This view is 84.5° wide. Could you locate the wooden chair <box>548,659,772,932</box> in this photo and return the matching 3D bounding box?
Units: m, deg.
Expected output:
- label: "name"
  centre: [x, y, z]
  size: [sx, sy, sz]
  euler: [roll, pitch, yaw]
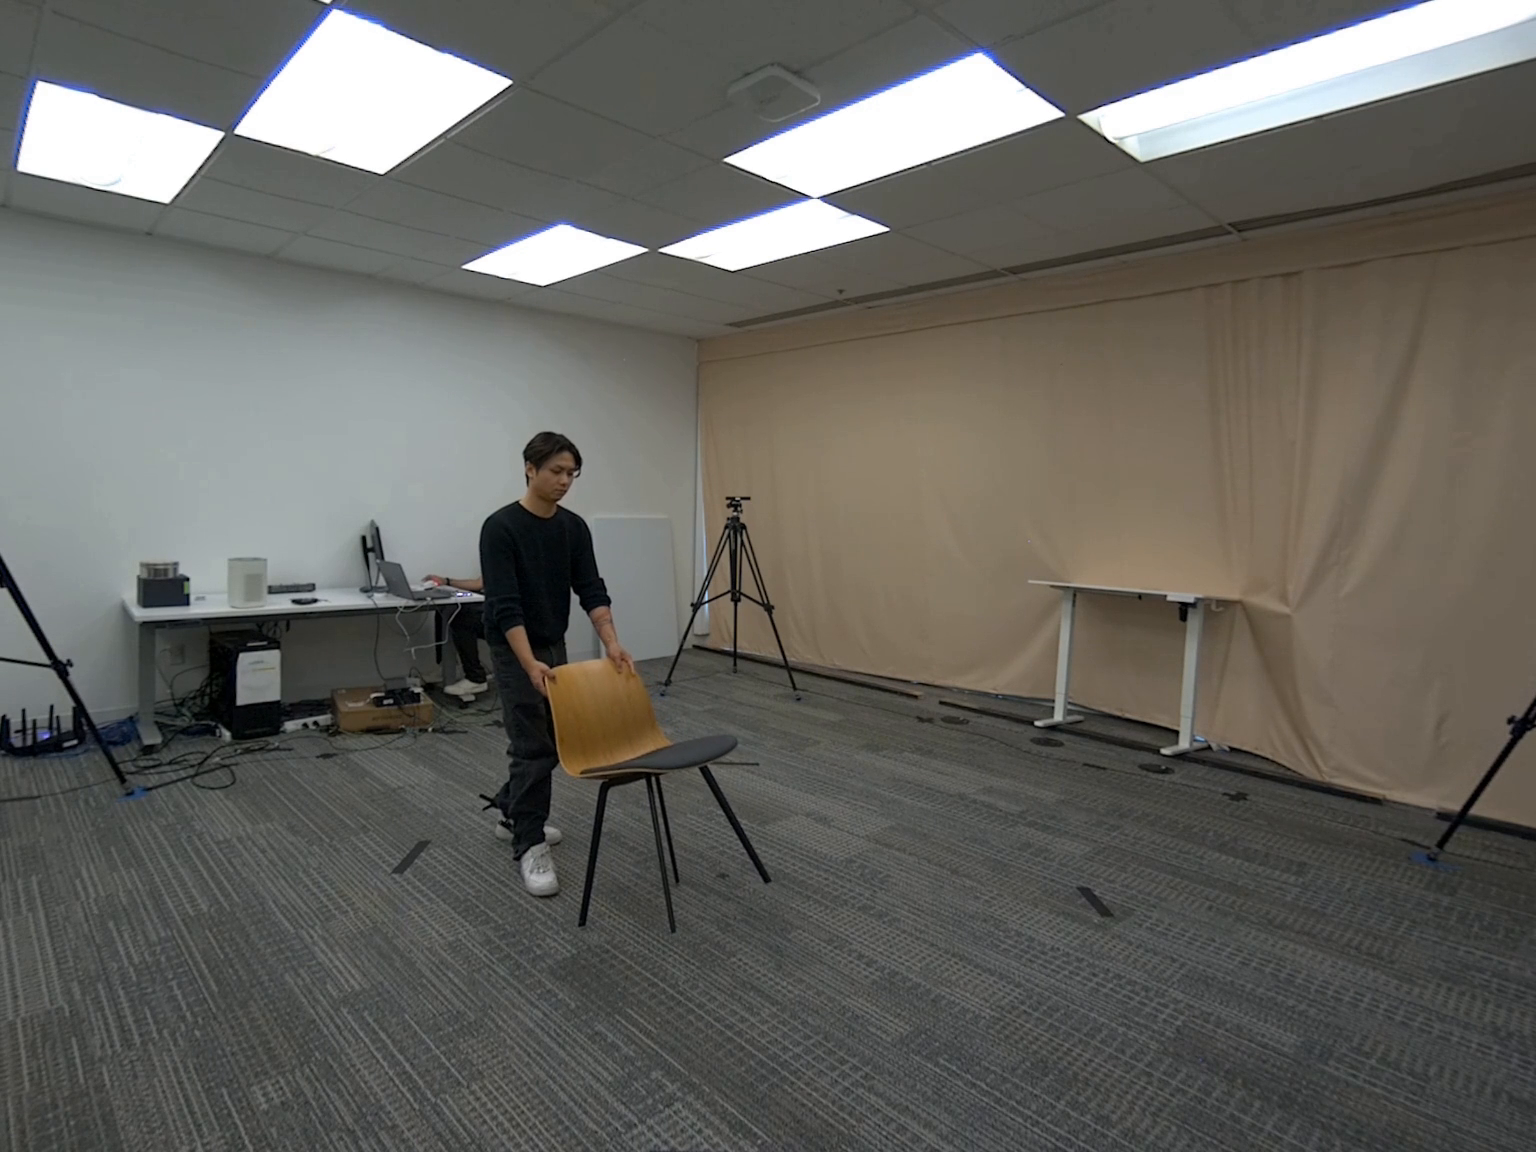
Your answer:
- label: "wooden chair"
  centre: [-0.389, 0.656, 2.782]
  size: [0.529, 0.887, 0.467]
  euler: [-25, -14, 39]
